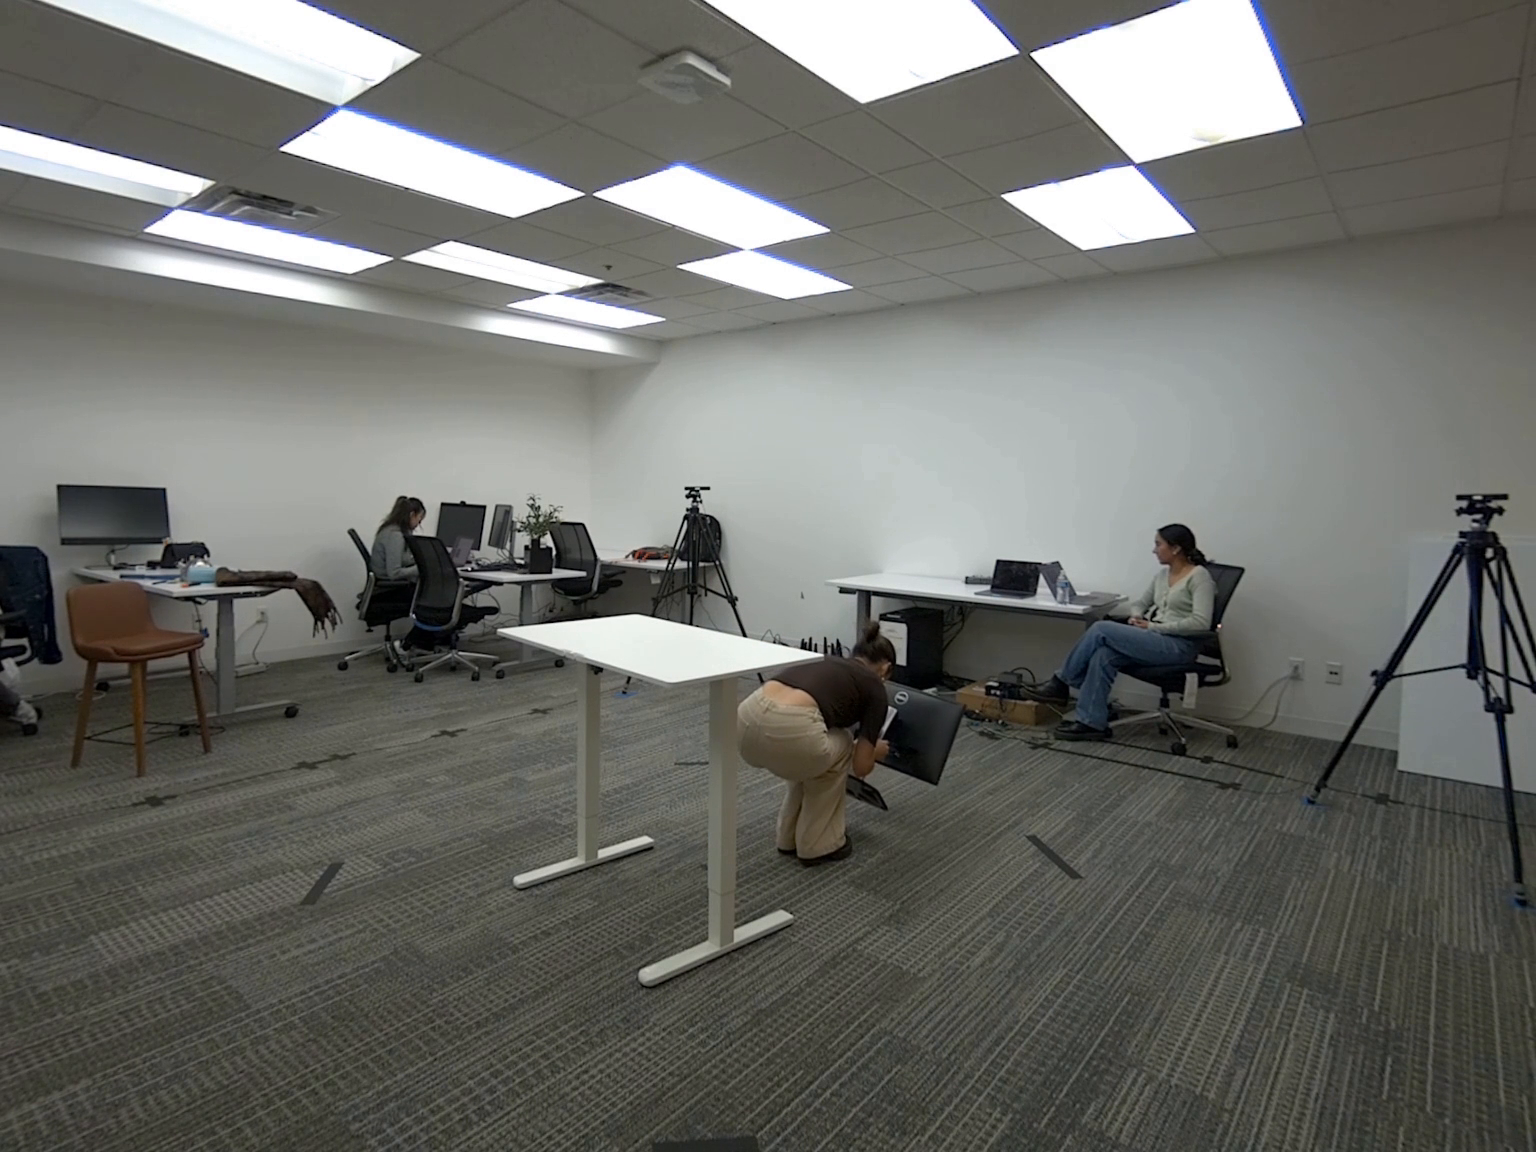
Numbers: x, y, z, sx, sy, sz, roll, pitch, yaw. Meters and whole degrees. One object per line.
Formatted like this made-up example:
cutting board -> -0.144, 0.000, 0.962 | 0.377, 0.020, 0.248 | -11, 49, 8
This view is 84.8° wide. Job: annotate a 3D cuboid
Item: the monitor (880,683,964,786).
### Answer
monitor -> 0.482, 0.678, 3.554 | 0.560, 0.524, 0.180 | 16, -31, 39
